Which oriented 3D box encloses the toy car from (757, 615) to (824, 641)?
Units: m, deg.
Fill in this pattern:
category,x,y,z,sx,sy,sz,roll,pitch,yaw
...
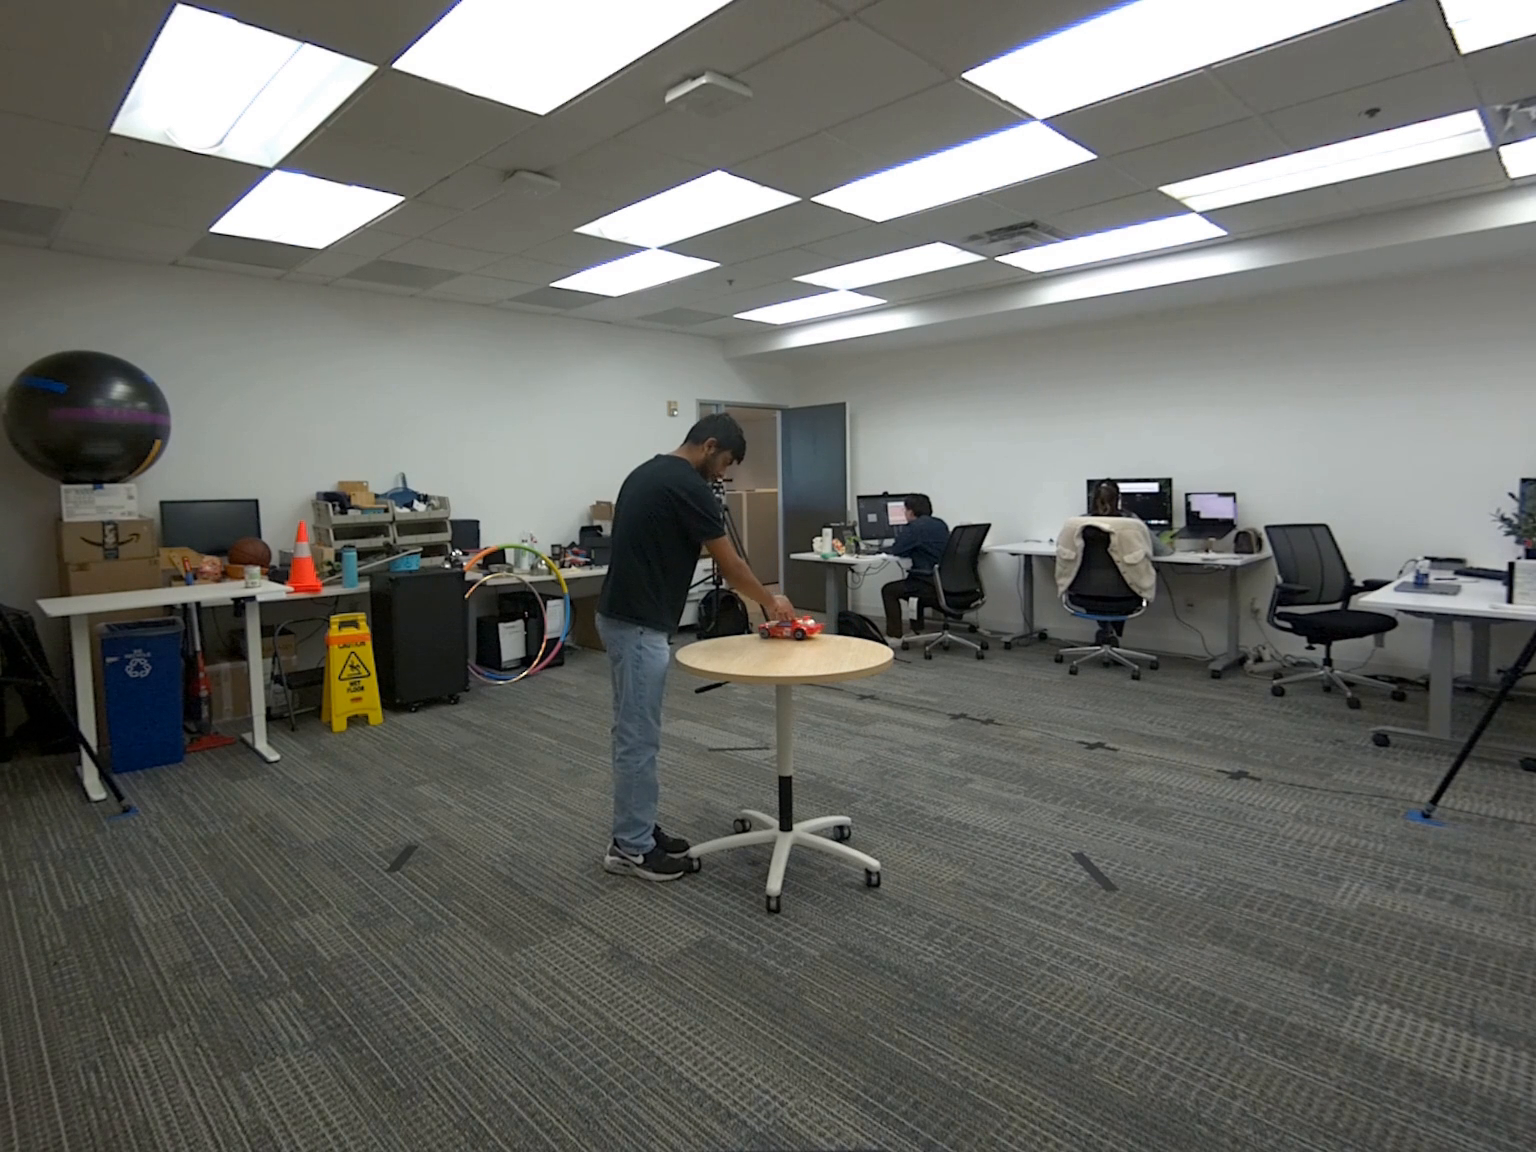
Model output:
category,x,y,z,sx,sy,sz,roll,pitch,yaw
toy car,0.091,0.206,3.293,0.259,0.083,0.128,-10,1,24
